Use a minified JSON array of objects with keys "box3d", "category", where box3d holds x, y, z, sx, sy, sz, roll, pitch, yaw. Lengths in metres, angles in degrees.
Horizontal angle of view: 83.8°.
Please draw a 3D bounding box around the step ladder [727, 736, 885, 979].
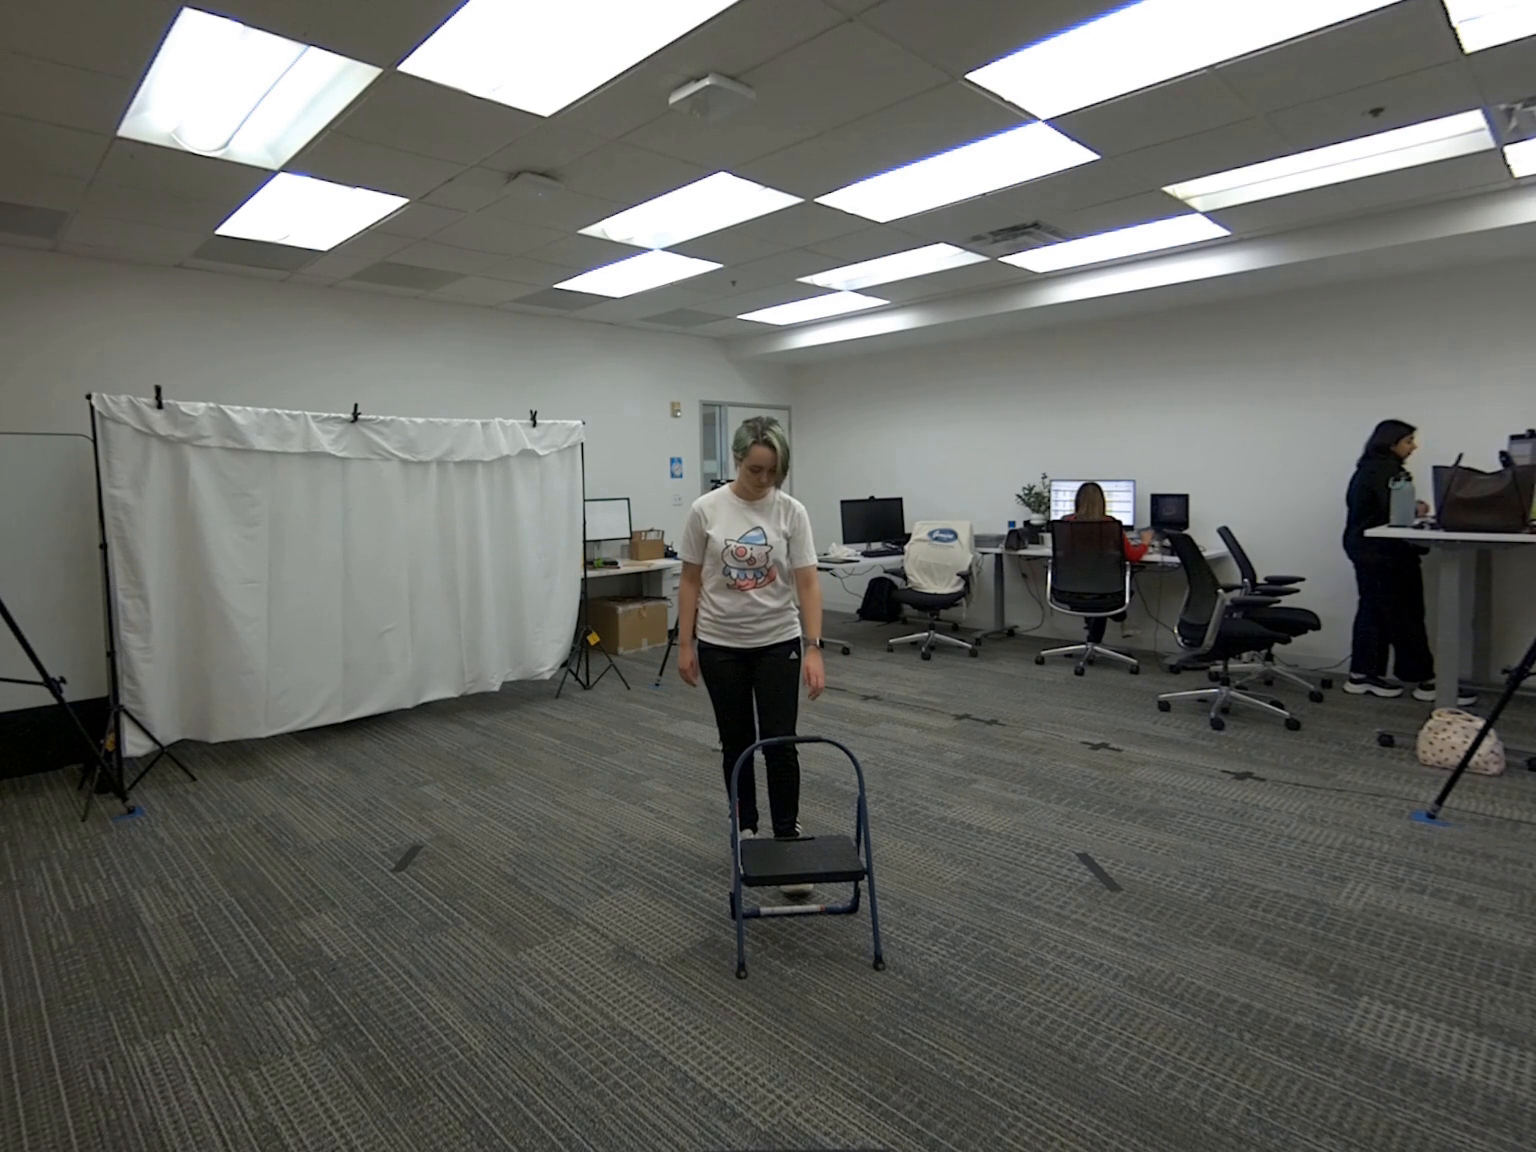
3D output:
[{"box3d":[0.104,0.808,2.567,0.428,0.604,0.353,-2,4,-7],"category":"step ladder"}]
